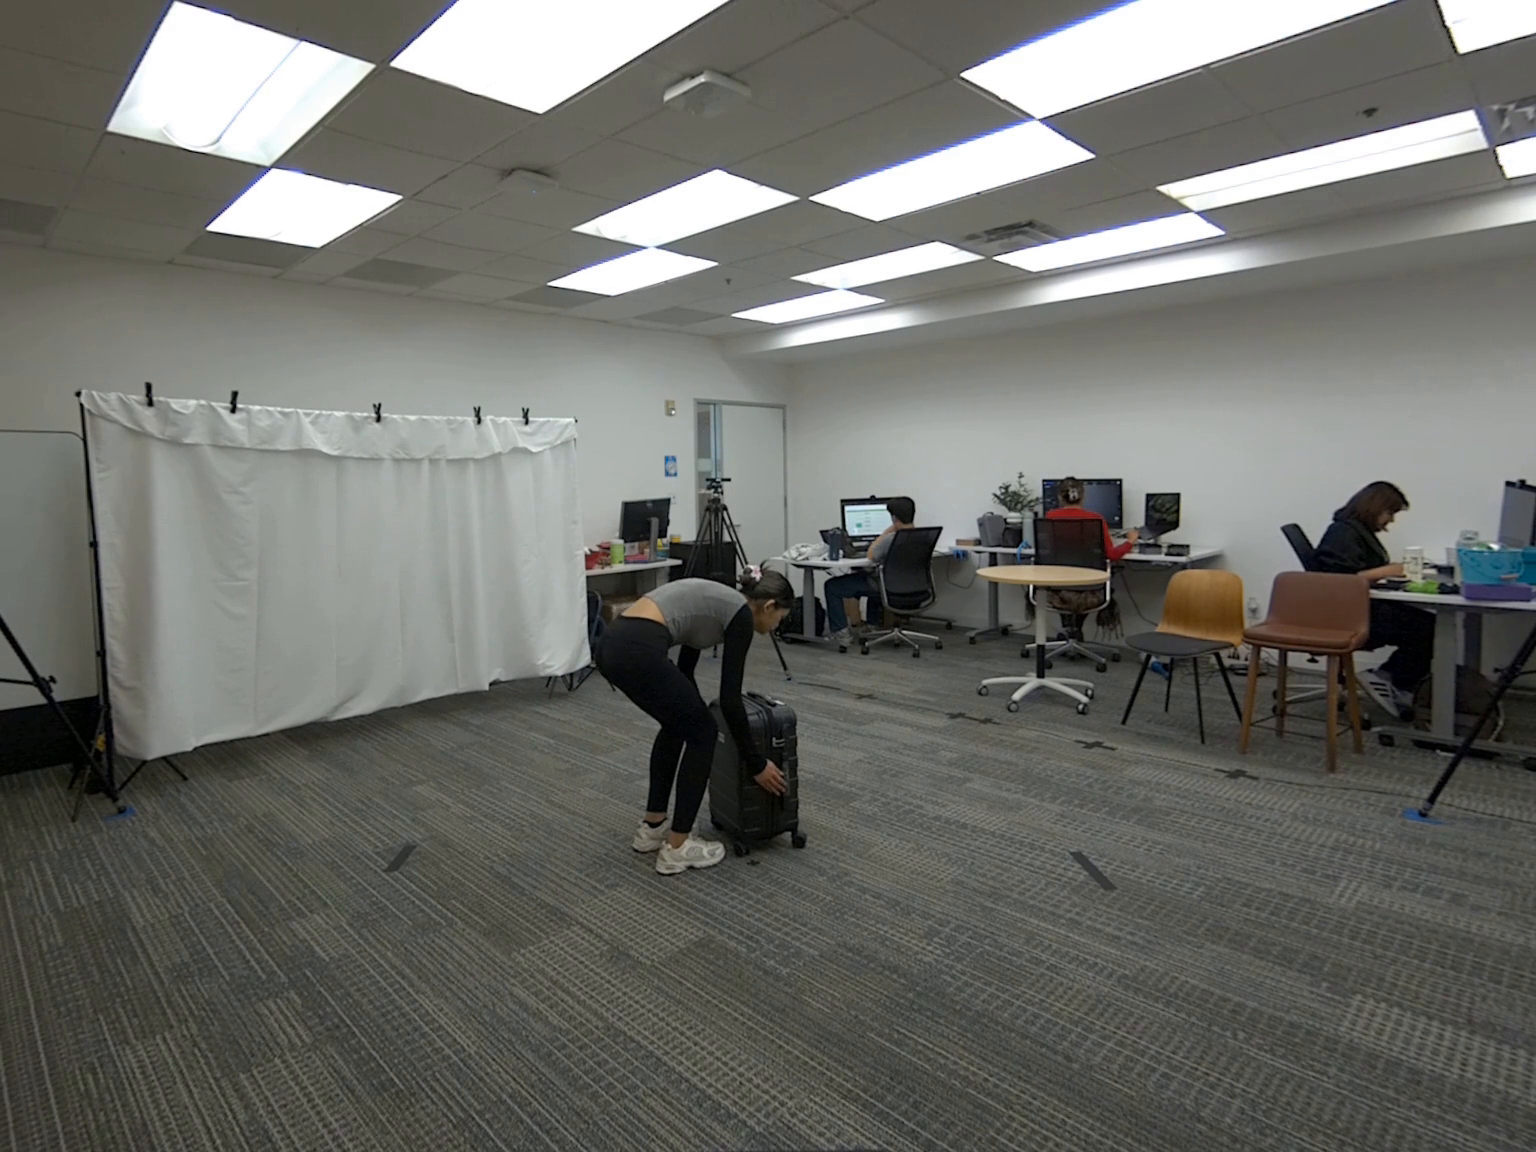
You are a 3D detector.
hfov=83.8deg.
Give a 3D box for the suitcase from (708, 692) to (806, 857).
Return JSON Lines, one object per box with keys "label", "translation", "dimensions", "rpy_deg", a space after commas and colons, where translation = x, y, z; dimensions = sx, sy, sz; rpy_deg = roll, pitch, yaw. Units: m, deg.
{"label": "suitcase", "translation": [-0.059, 0.741, 3.311], "dimensions": [0.243, 0.547, 0.385], "rpy_deg": [-3, 5, -26]}
